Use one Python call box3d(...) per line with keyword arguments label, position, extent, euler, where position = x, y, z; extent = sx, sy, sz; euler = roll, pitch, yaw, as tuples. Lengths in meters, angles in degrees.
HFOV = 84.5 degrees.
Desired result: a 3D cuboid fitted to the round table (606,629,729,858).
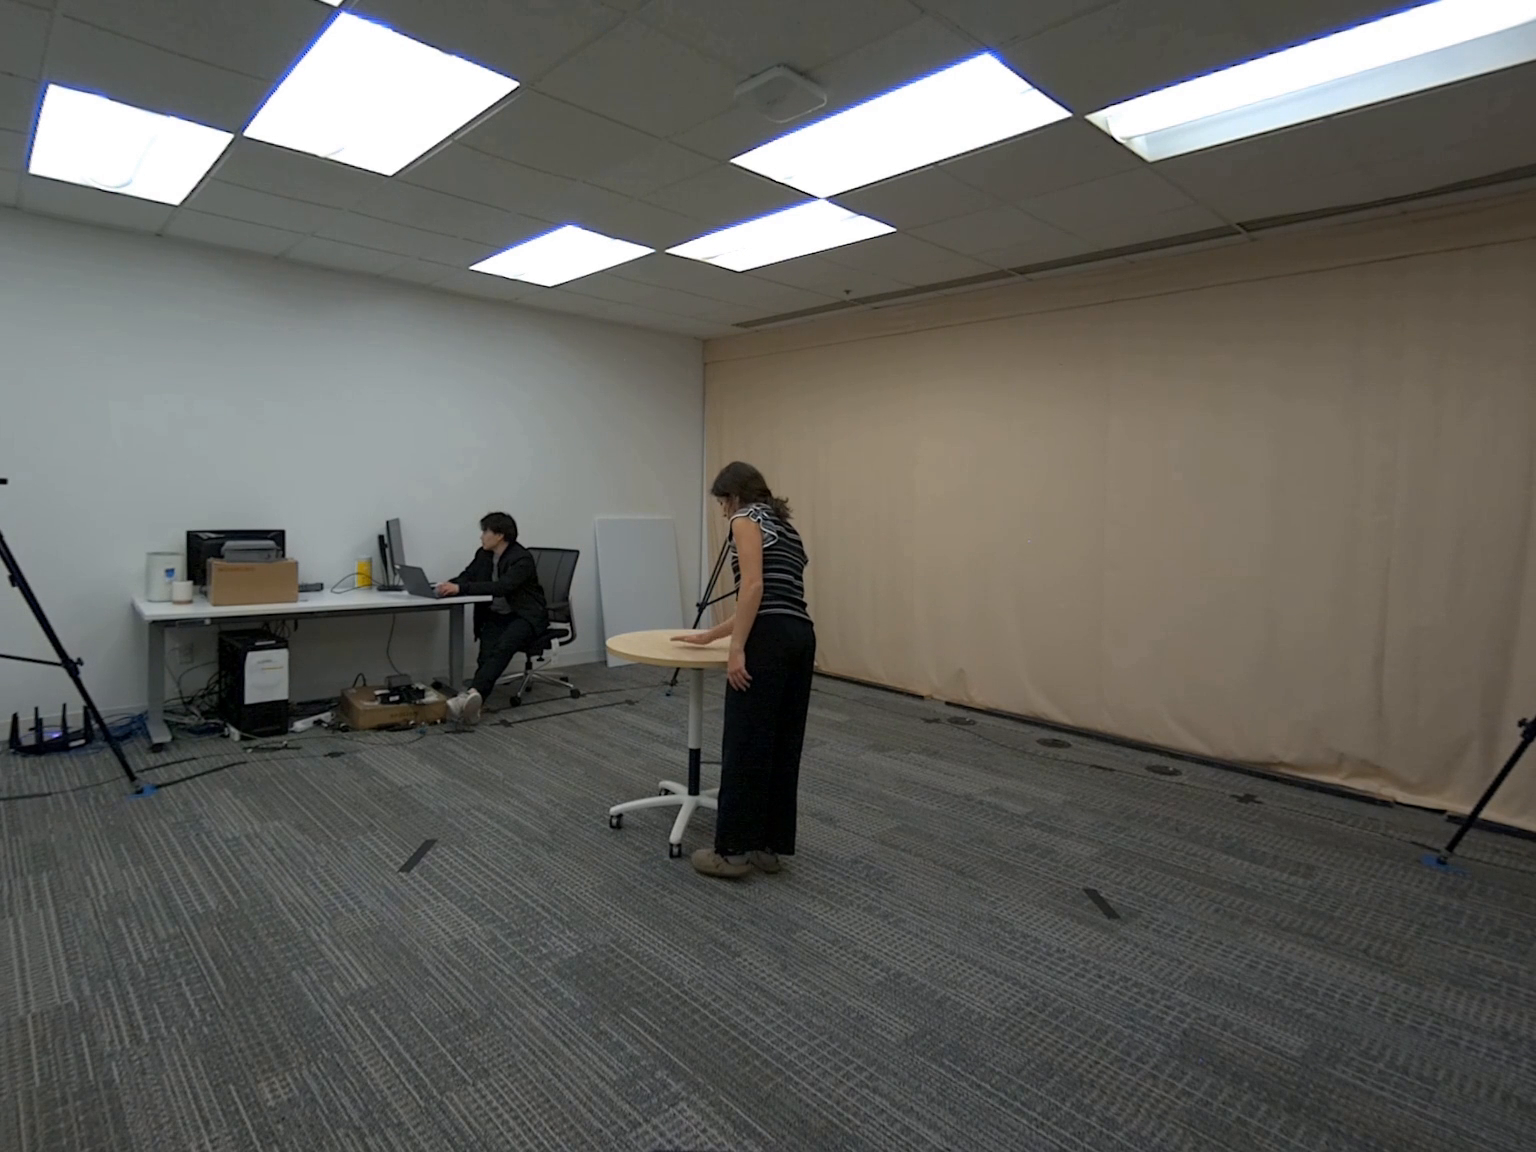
box3d(label="round table", position=(-0.320, 0.677, 3.550), extent=(0.763, 0.792, 0.766), euler=(2, 4, -1))
